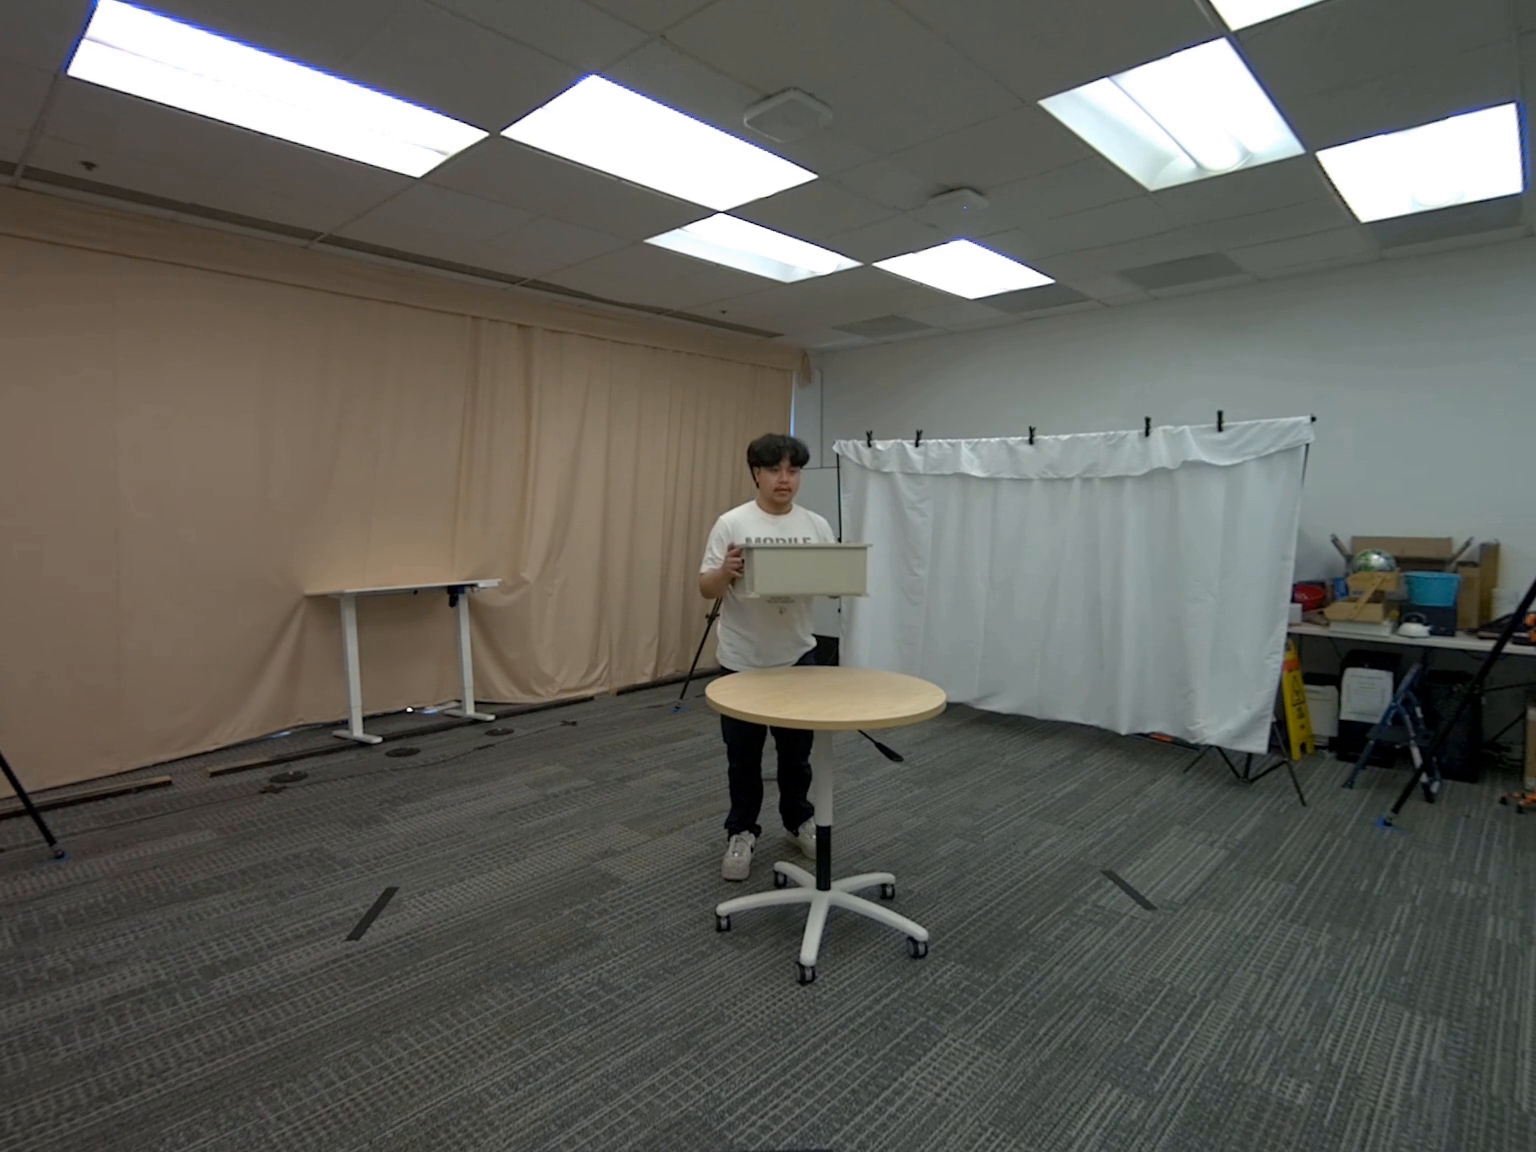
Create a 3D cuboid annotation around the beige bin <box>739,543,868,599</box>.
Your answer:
[{"bbox_3d":[0.102,-0.013,2.944,0.417,0.189,0.382,0,2,-12],"label":"beige bin"}]
